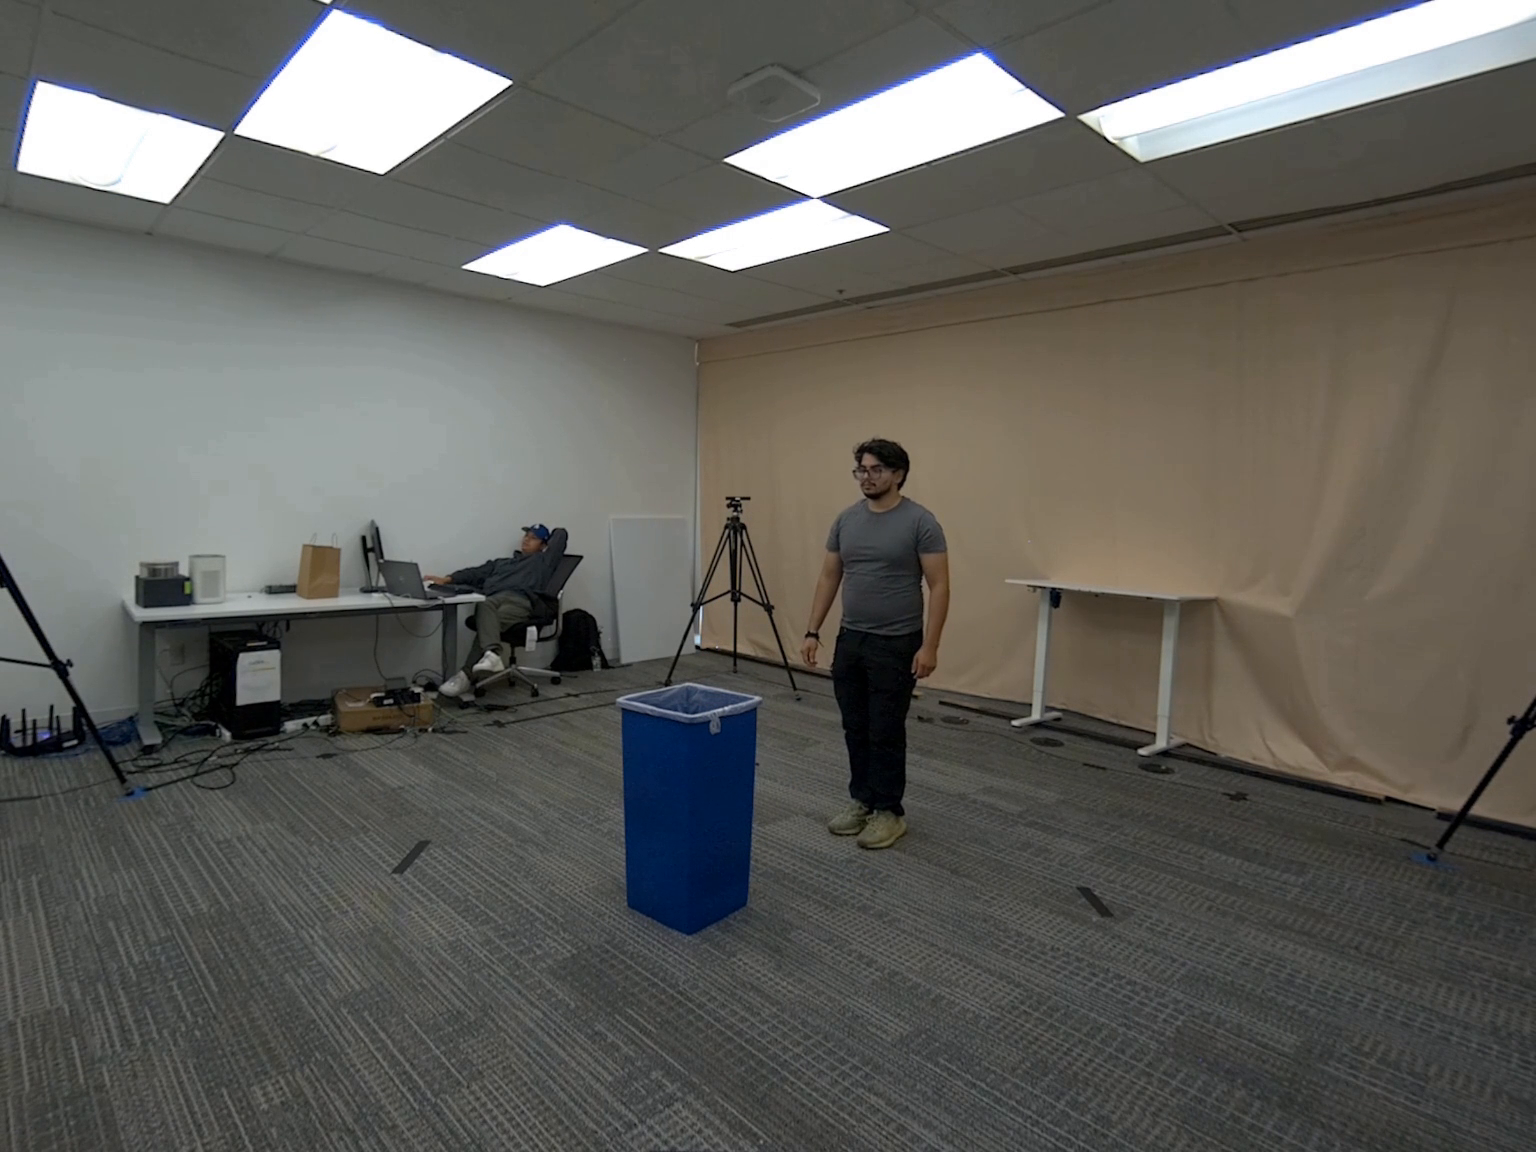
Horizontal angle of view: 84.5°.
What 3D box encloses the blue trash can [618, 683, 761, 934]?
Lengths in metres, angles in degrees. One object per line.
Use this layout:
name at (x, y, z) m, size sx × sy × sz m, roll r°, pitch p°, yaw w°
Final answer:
blue trash can at (-0.282, 0.768, 2.862) m, size 0.383 × 0.712 × 0.369 m, roll 4°, pitch 4°, yaw 39°
